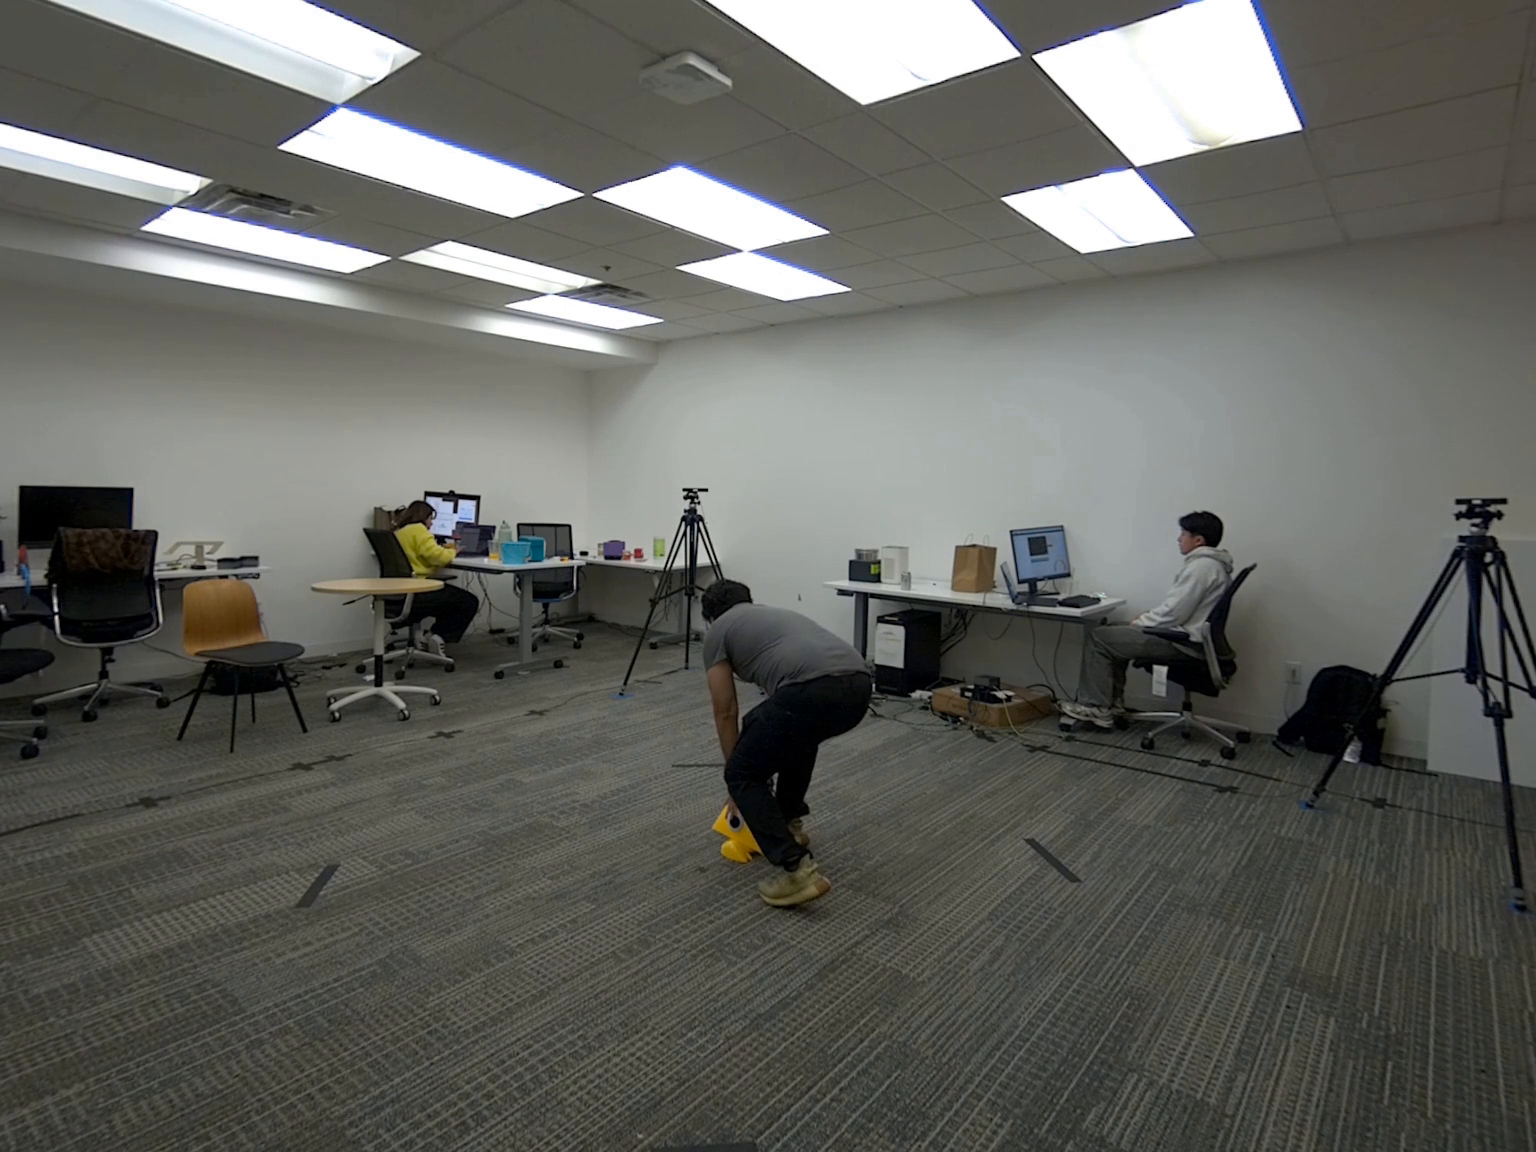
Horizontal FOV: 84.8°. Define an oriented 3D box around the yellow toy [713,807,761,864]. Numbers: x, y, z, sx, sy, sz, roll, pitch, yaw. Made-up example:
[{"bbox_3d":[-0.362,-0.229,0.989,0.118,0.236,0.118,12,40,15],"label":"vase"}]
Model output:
[{"bbox_3d":[-0.087,0.944,3.278,0.199,0.230,0.199,0,3,-35],"label":"yellow toy"}]
